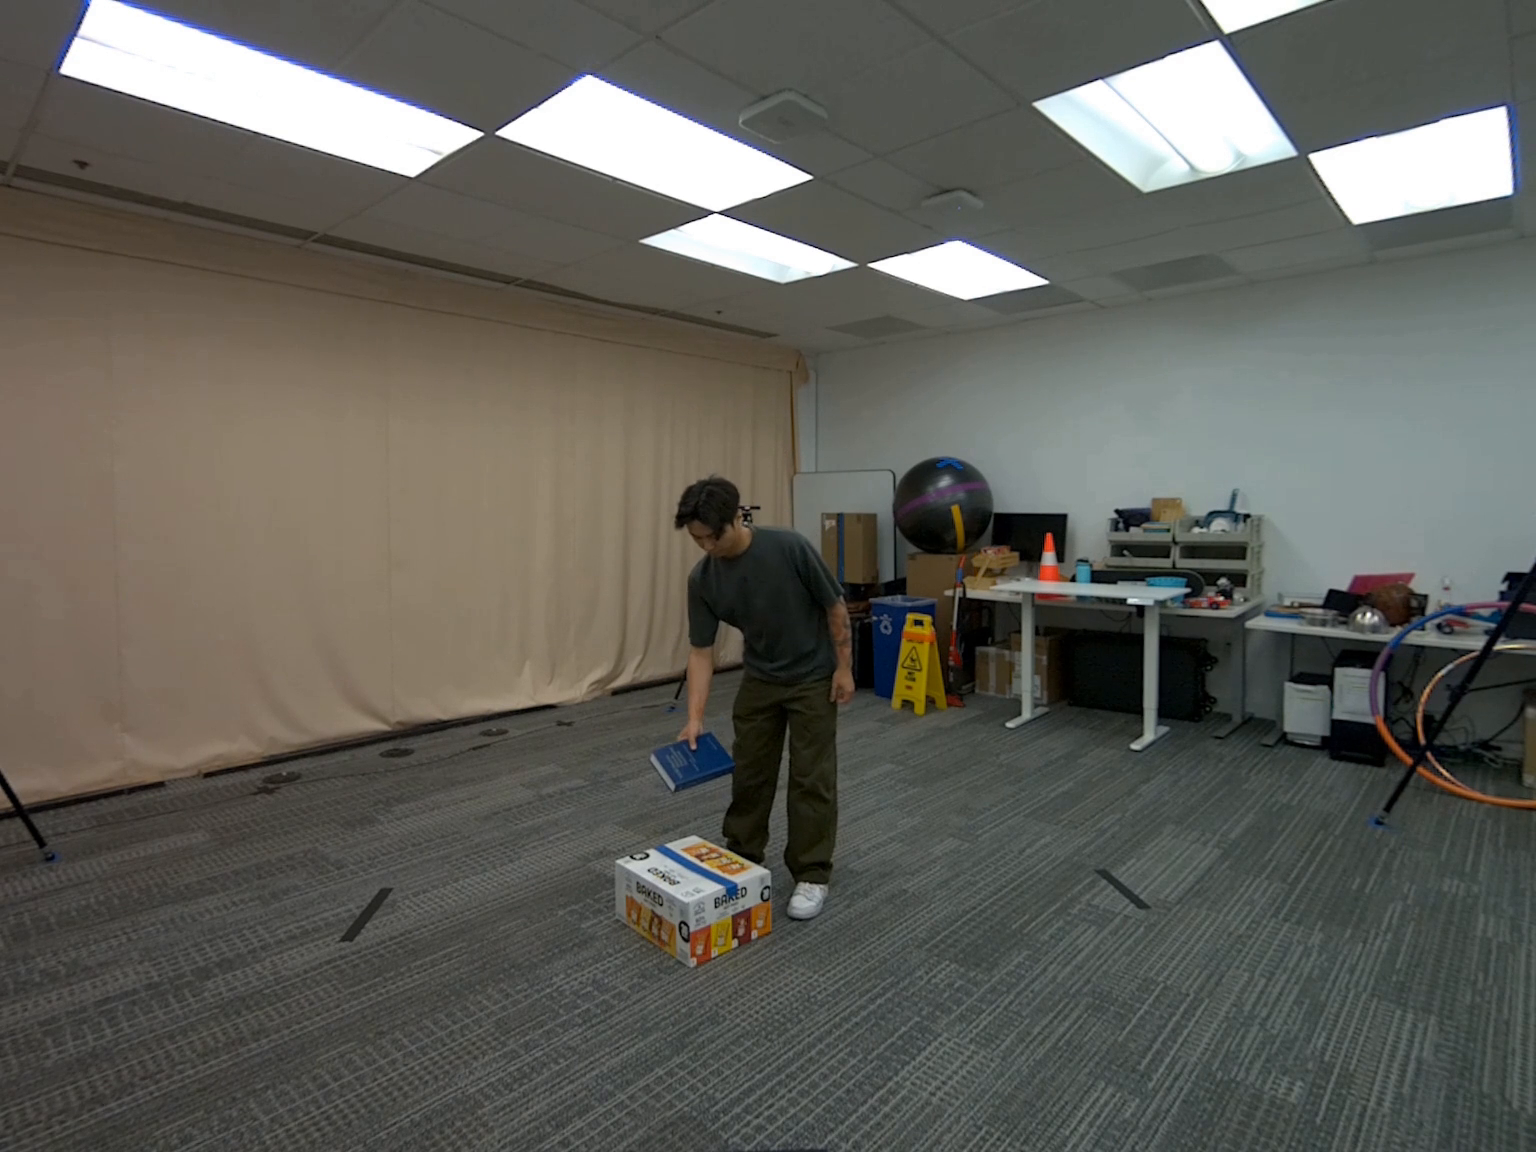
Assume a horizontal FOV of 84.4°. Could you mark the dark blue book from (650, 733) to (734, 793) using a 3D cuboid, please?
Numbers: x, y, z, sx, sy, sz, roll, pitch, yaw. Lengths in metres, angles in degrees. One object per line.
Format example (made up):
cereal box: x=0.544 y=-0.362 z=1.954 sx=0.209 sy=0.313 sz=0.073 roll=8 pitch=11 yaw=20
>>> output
dark blue book: x=-0.240 y=0.625 z=2.805 sx=0.238 sy=0.045 sz=0.169 roll=-6 pitch=36 yaw=-31
